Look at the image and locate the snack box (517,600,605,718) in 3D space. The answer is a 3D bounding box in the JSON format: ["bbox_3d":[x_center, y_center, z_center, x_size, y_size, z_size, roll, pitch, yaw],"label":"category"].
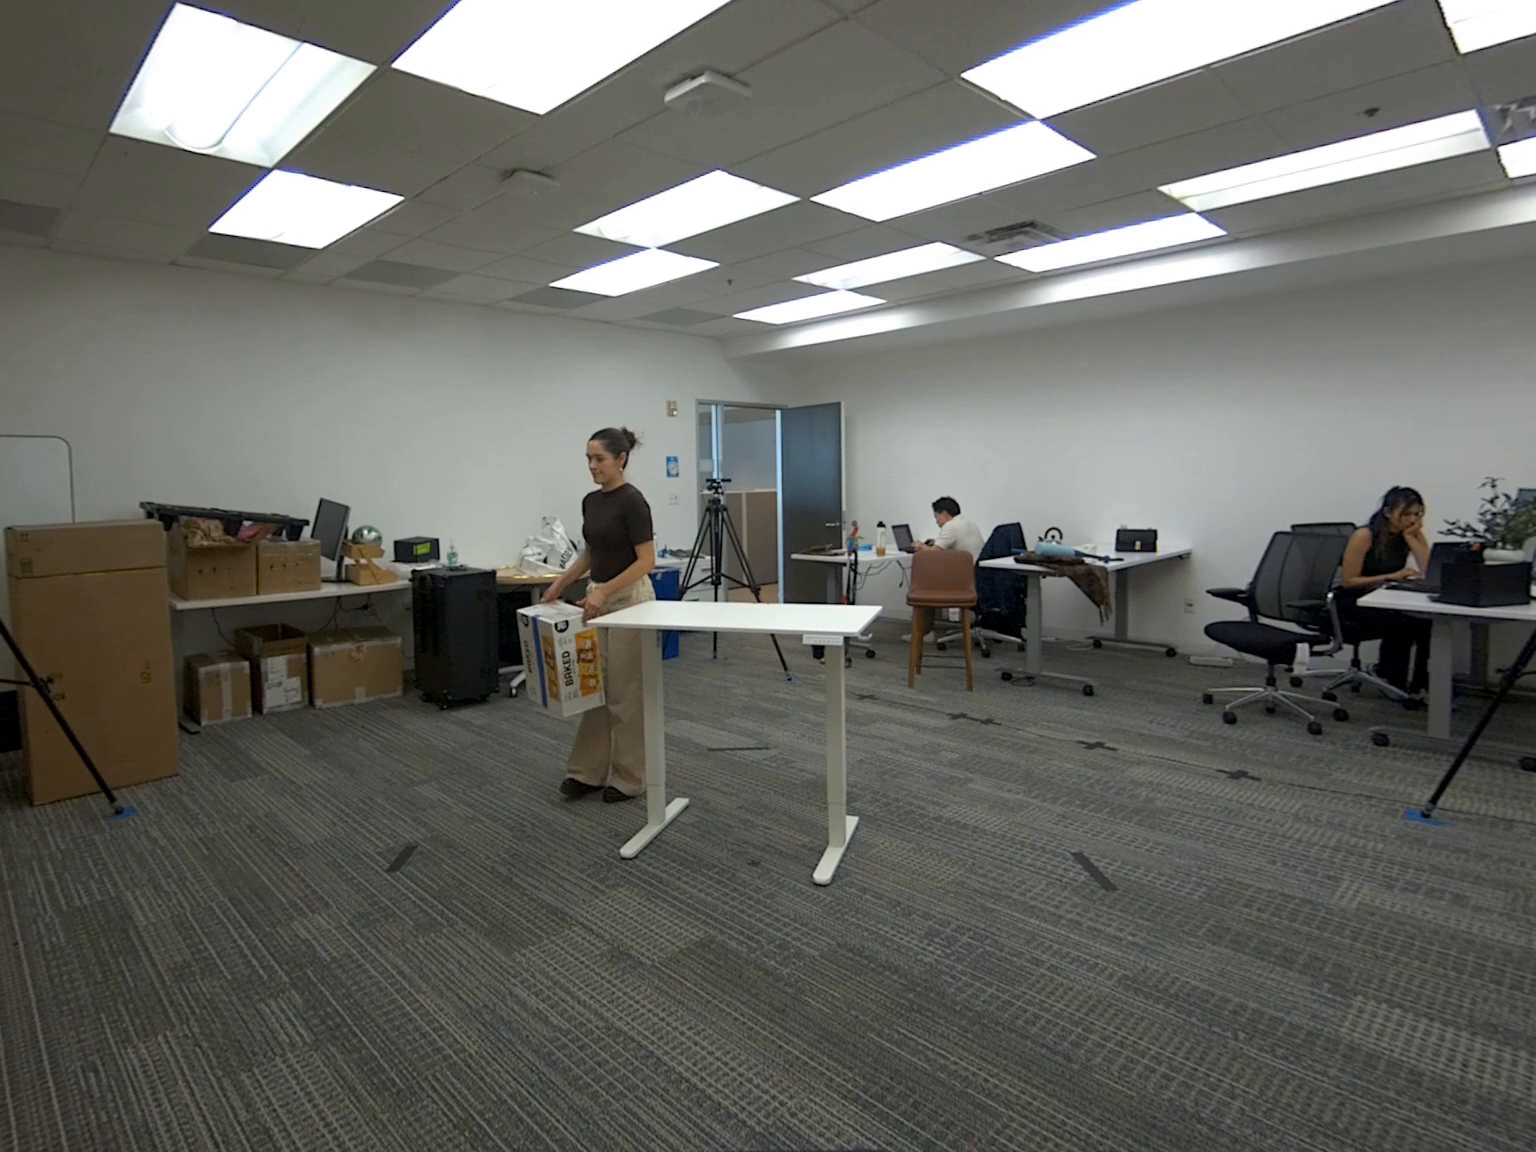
[{"bbox_3d":[-0.894,0.348,3.680,0.201,0.401,0.351,-13,13,-39],"label":"snack box"}]
